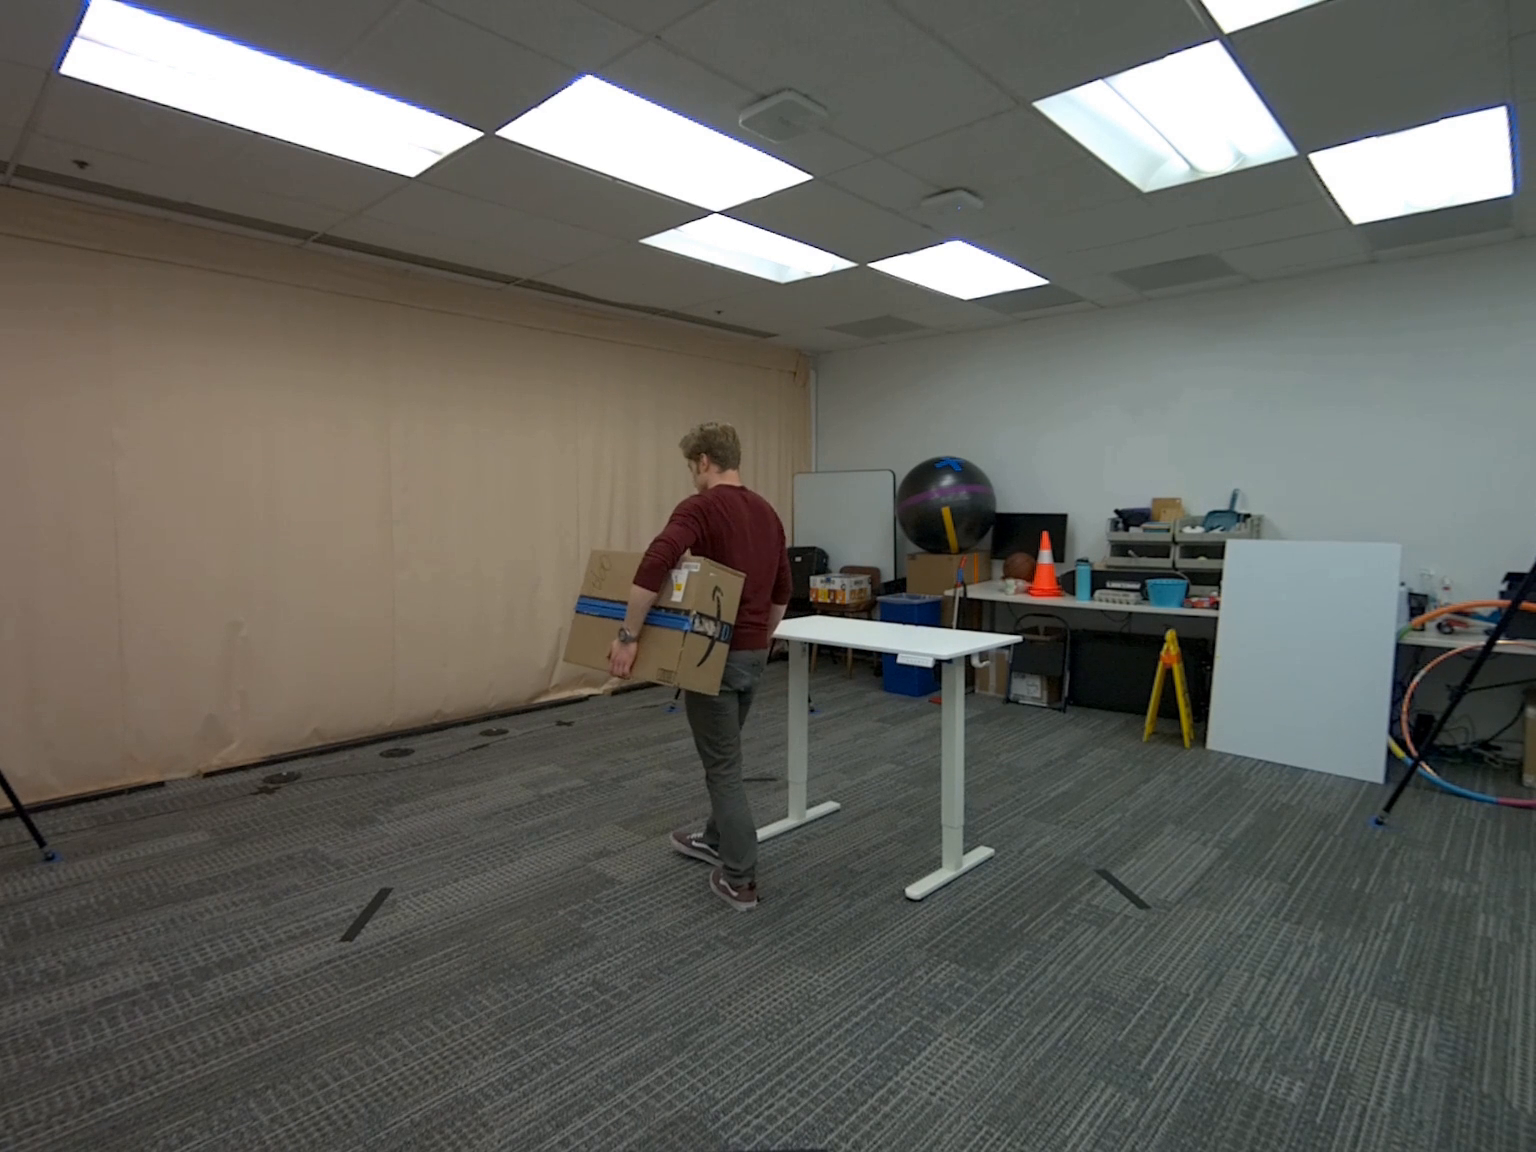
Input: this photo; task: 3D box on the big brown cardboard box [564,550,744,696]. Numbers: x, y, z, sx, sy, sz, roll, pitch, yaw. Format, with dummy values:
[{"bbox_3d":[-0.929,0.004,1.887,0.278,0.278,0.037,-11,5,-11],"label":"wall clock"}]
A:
[{"bbox_3d":[-0.391,0.149,2.894,0.609,0.419,0.225,4,-12,41],"label":"big brown cardboard box"}]
